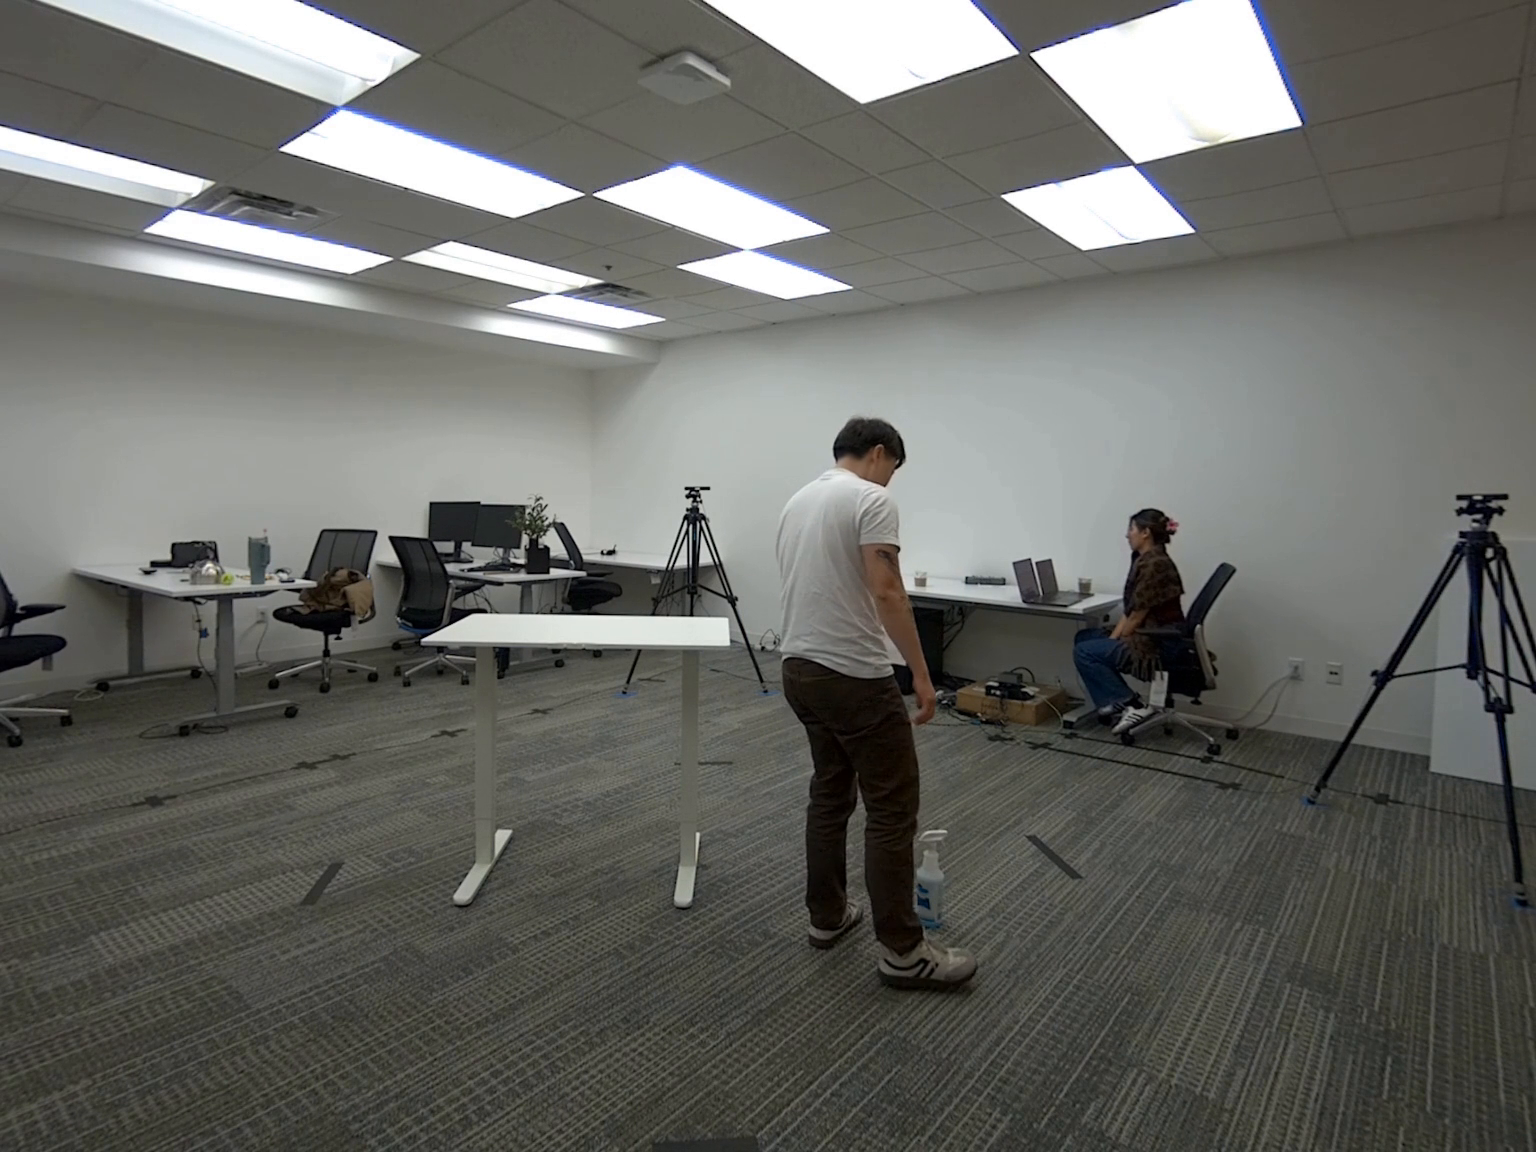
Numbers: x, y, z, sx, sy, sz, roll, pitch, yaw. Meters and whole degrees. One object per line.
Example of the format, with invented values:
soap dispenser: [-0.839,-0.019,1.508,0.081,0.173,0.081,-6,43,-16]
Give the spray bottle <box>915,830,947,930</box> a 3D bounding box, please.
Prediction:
spray bottle: [0.524,0.973,2.751,0.092,0.297,0.085,2,1,17]
